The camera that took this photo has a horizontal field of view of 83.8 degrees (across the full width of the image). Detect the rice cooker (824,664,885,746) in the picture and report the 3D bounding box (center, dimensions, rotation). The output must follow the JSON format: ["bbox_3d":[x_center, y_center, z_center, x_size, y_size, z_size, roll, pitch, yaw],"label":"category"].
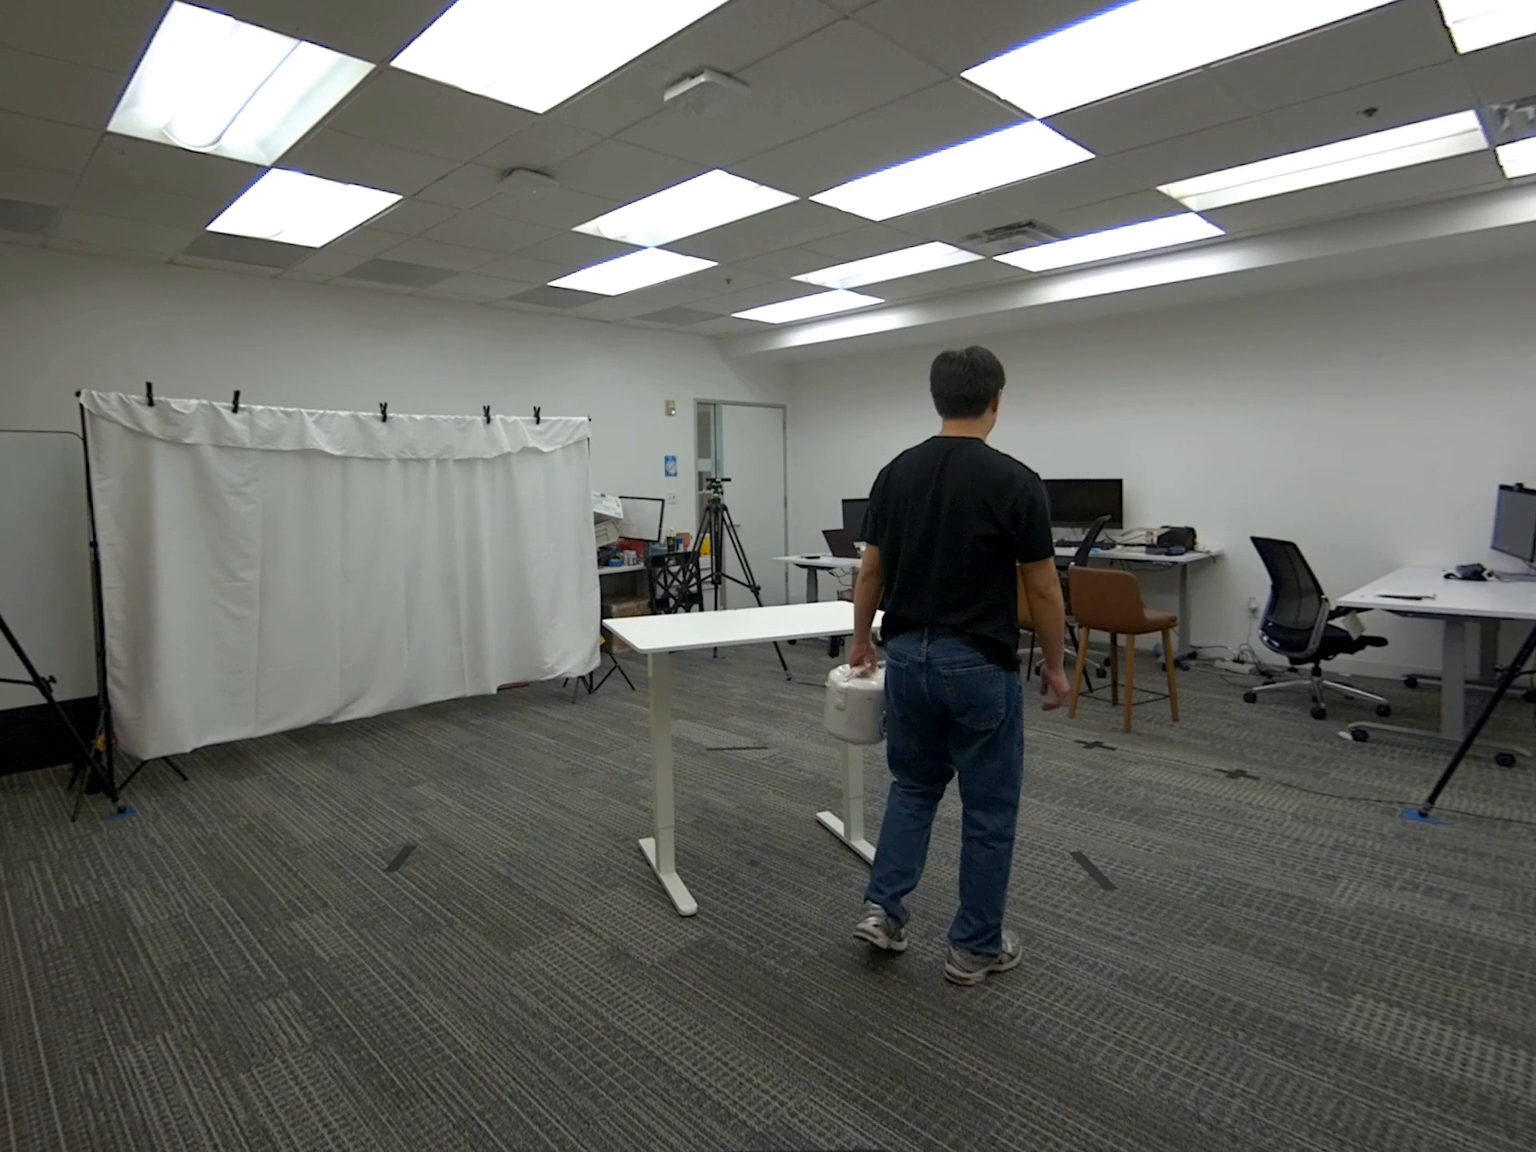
[{"bbox_3d":[0.299,0.393,2.674,0.215,0.230,0.225,-8,17,-45],"label":"rice cooker"}]
